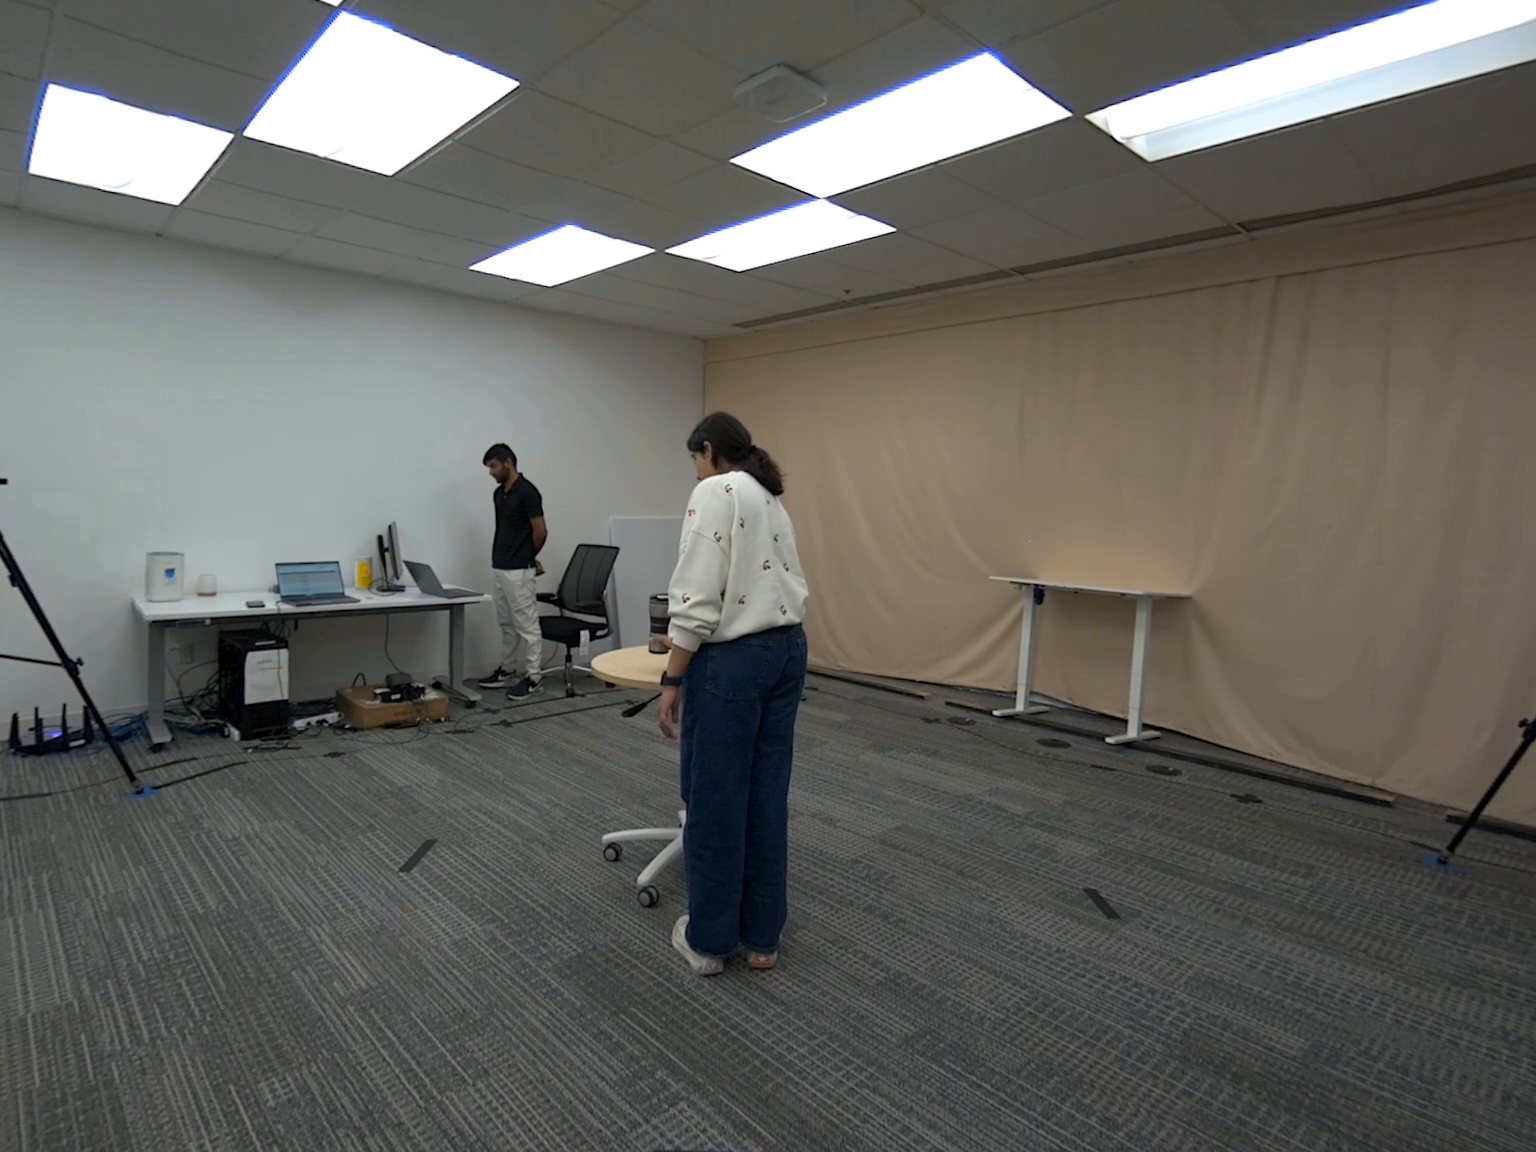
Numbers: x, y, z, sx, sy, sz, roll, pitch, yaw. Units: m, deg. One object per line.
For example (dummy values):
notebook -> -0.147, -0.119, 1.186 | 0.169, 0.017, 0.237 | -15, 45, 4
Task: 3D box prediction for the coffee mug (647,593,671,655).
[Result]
coffee mug -> -0.375, 0.173, 2.975 | 0.090, 0.202, 0.120 | 3, 7, 32
